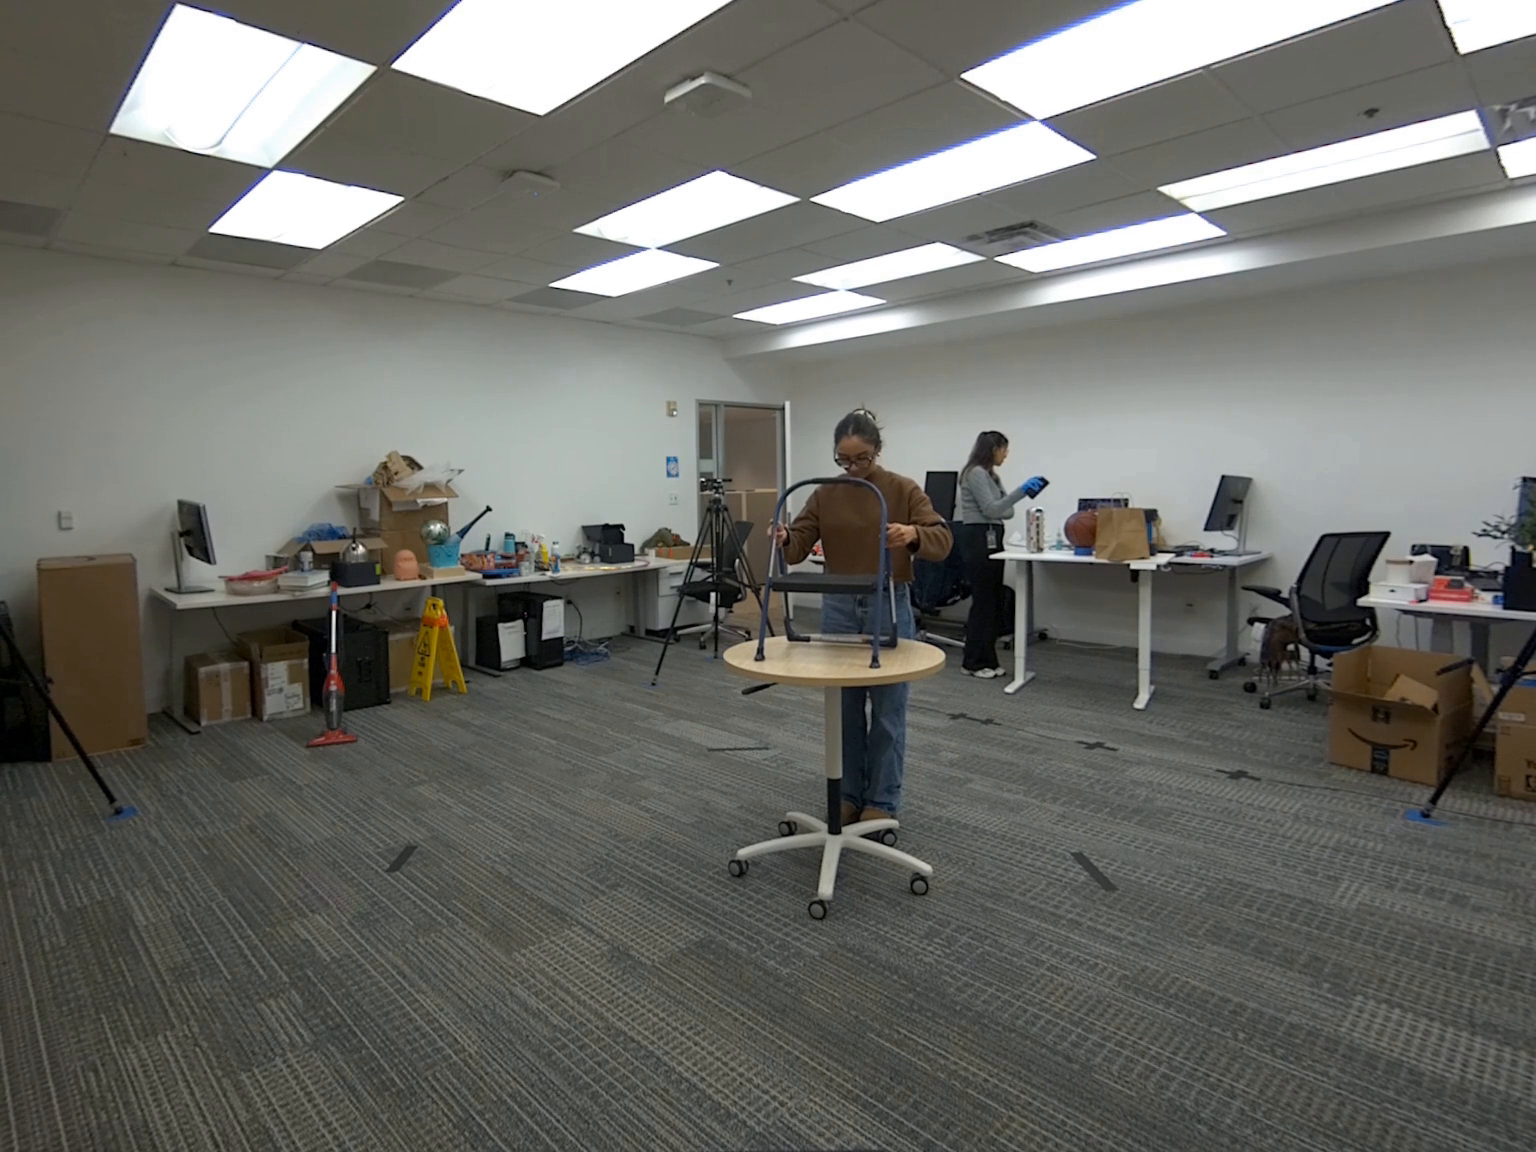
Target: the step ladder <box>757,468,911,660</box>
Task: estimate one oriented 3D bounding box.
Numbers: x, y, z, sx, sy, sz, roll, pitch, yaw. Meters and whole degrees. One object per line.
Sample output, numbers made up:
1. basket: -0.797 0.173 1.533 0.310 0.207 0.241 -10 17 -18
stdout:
1. step ladder: 0.206 -0.028 2.942 0.440 0.603 0.344 1 6 22
